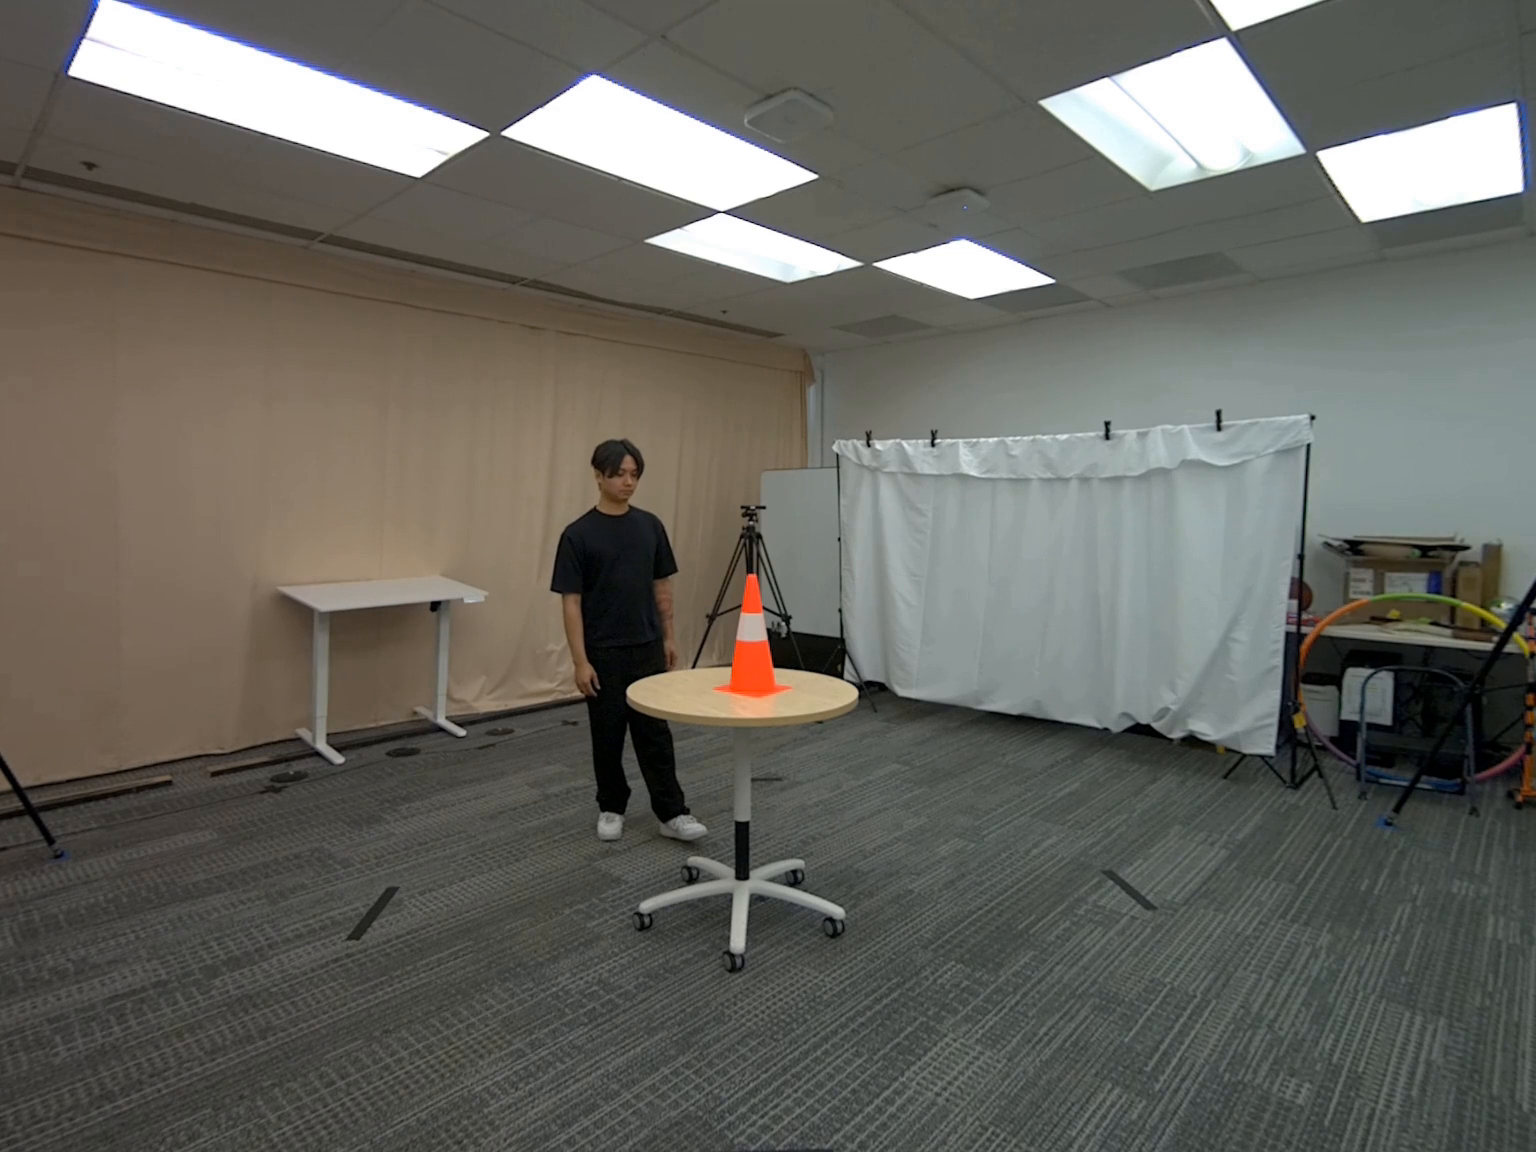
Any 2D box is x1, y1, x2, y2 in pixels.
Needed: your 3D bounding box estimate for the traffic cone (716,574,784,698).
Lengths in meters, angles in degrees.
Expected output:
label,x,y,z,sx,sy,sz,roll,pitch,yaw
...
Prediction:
label,x,y,z,sx,sy,sz,roll,pitch,yaw
traffic cone,-0.049,0.191,2.806,0.211,0.383,0.197,1,2,35
